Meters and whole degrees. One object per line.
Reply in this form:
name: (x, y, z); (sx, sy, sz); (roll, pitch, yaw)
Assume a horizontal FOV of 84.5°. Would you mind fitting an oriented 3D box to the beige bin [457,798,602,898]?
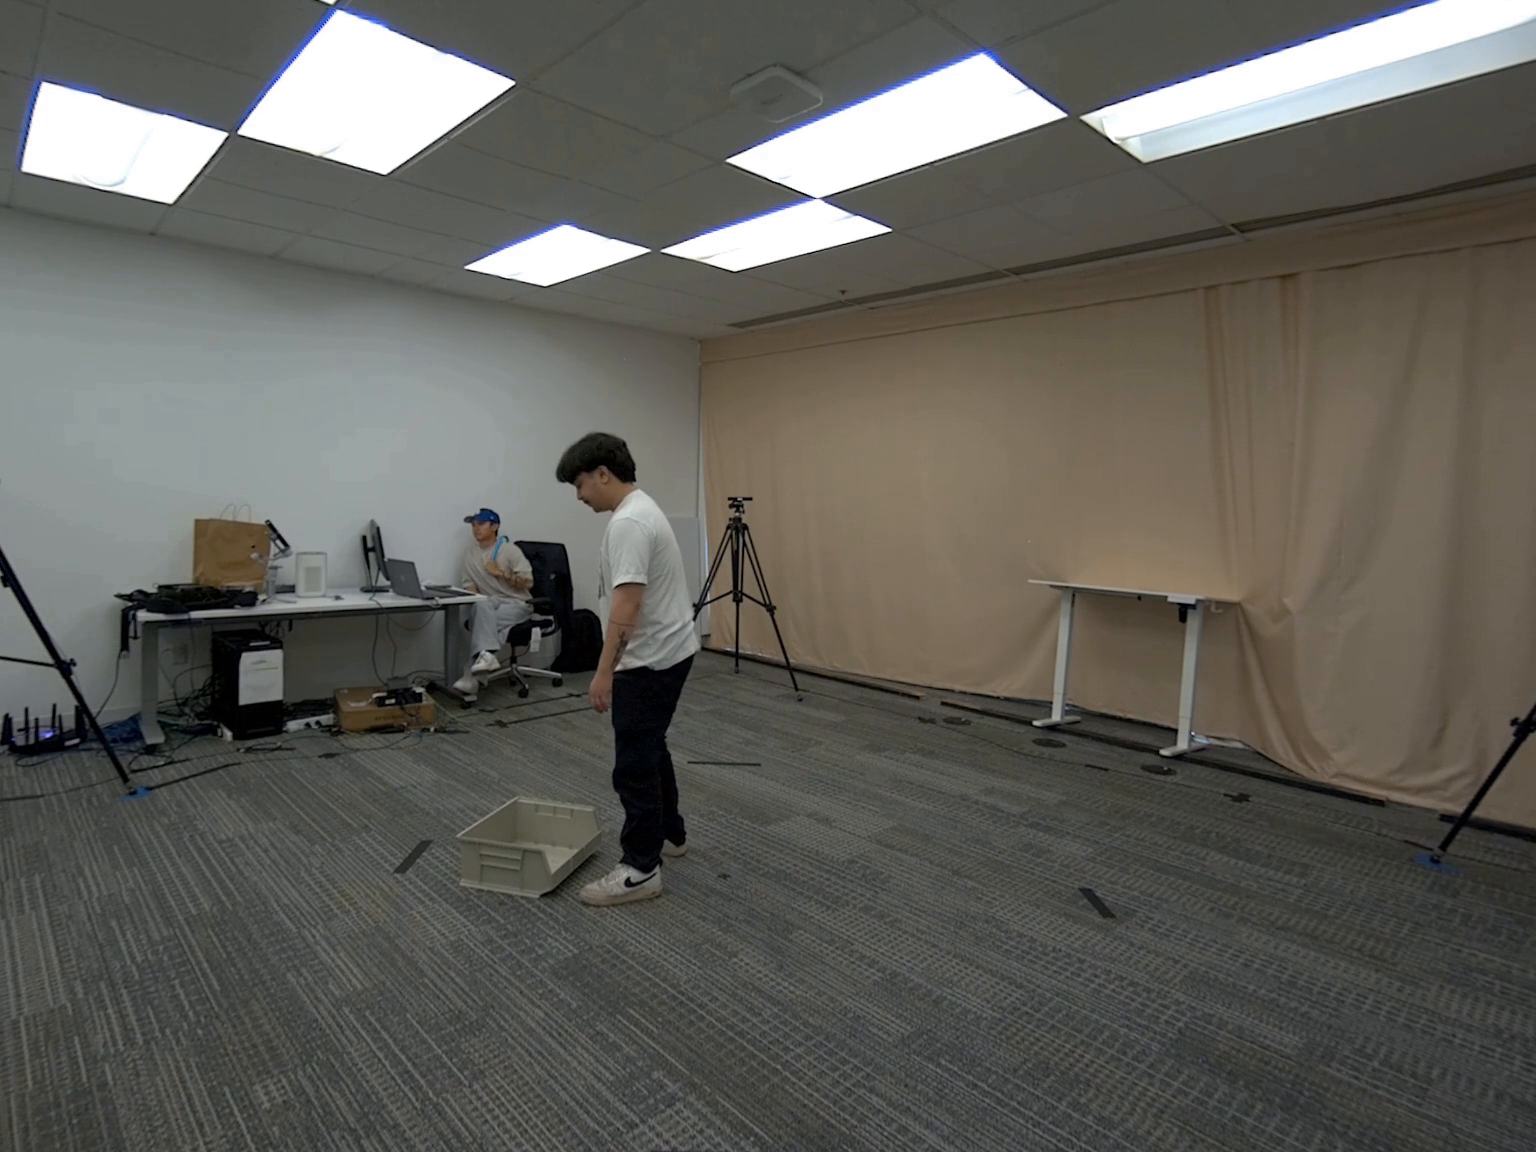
beige bin: (-0.881, 1.001, 3.130); (0.382, 0.188, 0.419); (2, 6, 14)
